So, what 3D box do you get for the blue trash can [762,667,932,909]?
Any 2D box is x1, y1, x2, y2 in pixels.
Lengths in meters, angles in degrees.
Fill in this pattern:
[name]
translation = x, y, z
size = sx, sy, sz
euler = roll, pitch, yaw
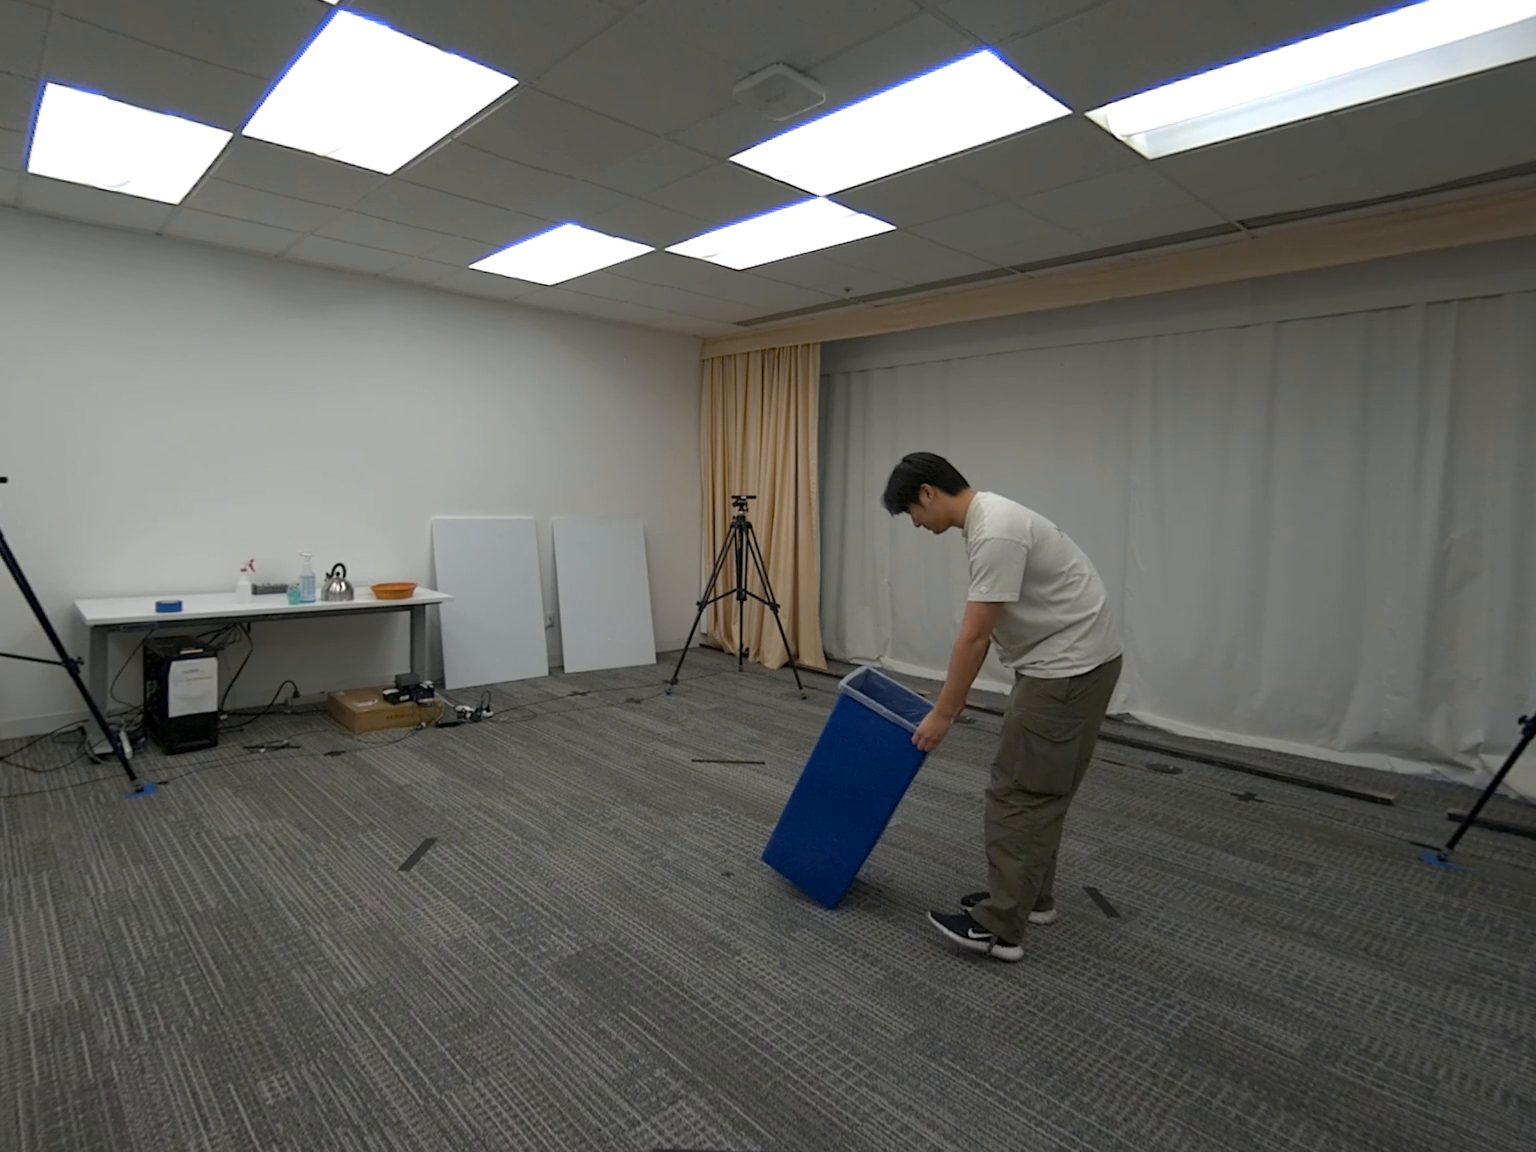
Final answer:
[blue trash can]
translation = 0.287, 0.736, 2.944
size = 0.381, 0.711, 0.372
euler = 30, 13, 17
